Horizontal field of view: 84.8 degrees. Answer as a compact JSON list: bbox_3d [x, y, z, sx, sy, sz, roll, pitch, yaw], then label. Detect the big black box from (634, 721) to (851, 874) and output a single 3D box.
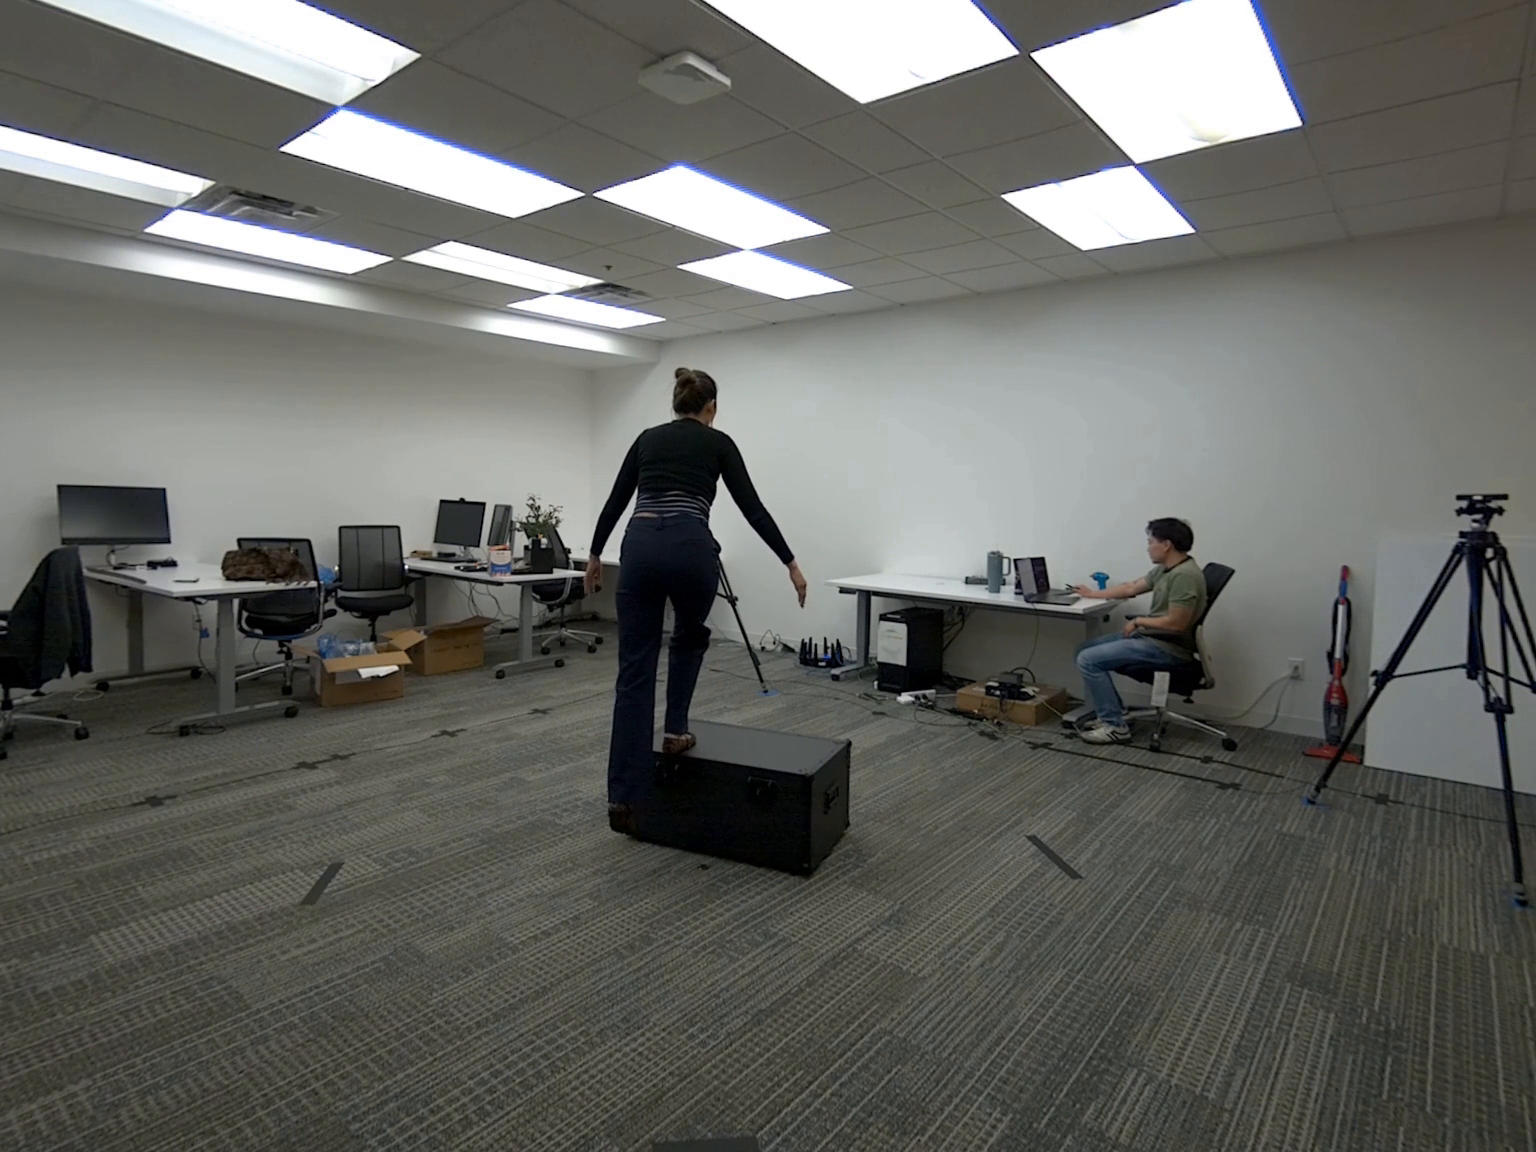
[{"bbox_3d":[-0.154,0.847,3.412,0.883,0.394,0.510,3,6,24],"label":"big black box"}]
